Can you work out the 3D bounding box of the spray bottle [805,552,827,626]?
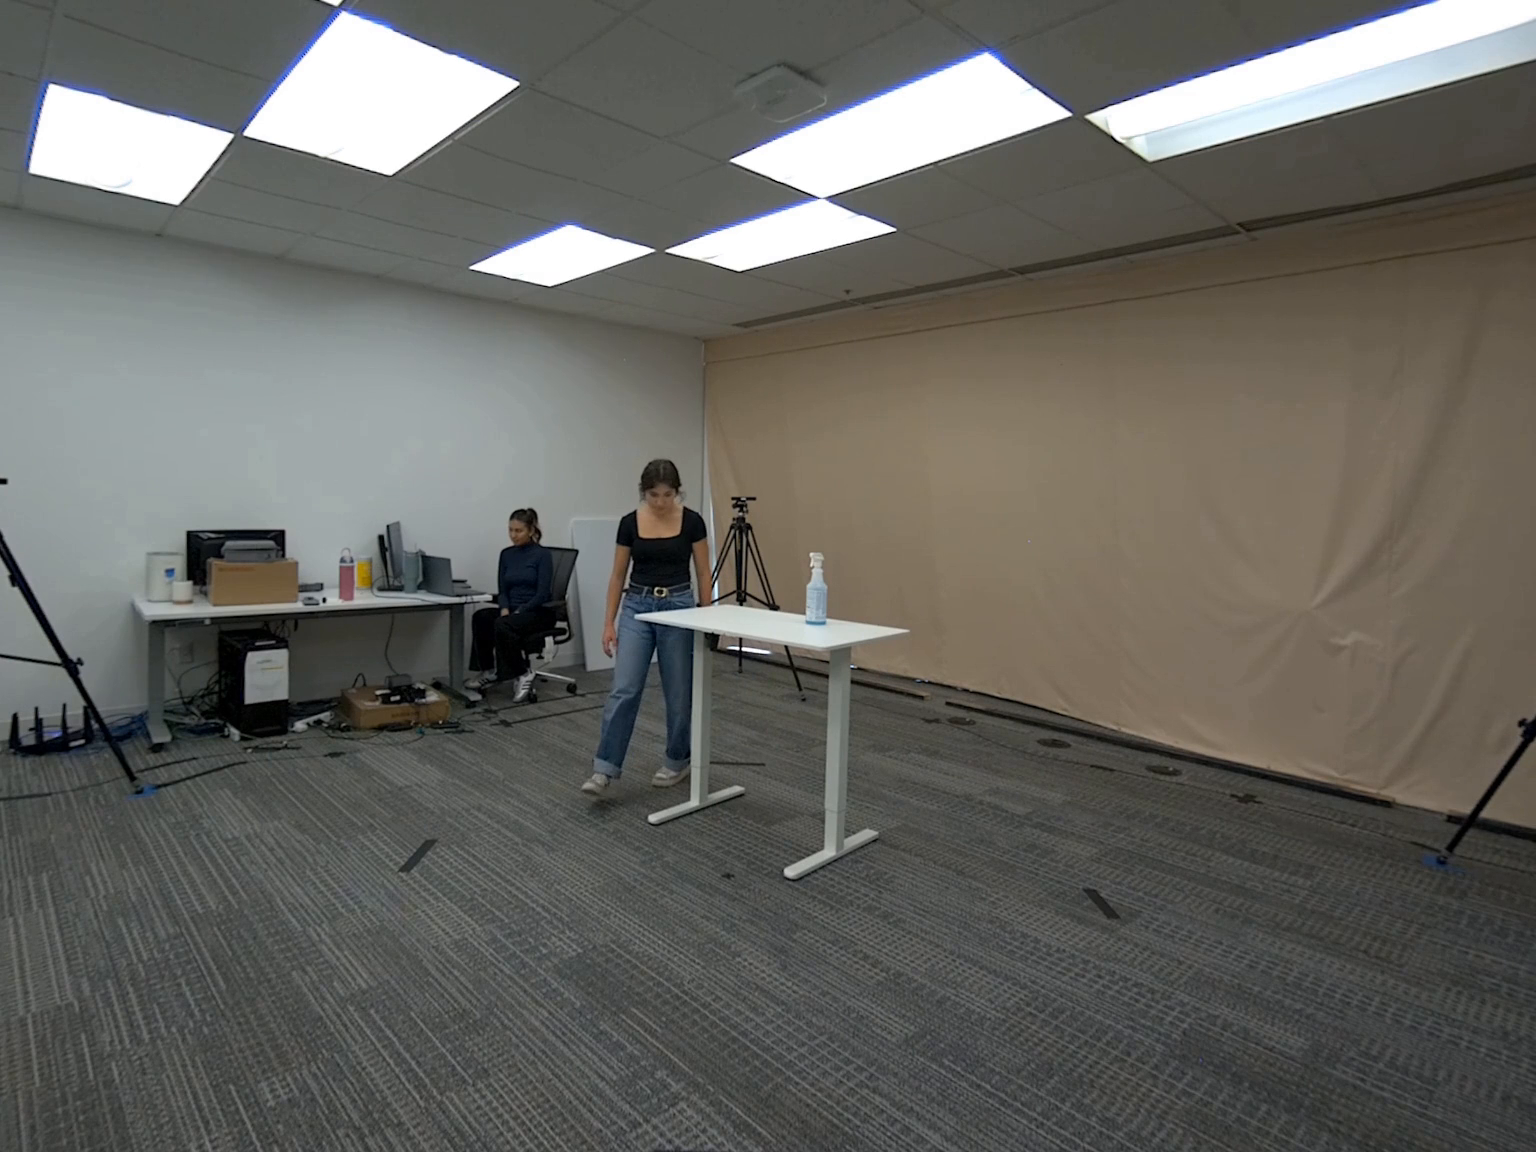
[{"bbox_3d":[0.198,0.052,3.497,0.088,0.296,0.089,-1,4,-27],"label":"spray bottle"}]
